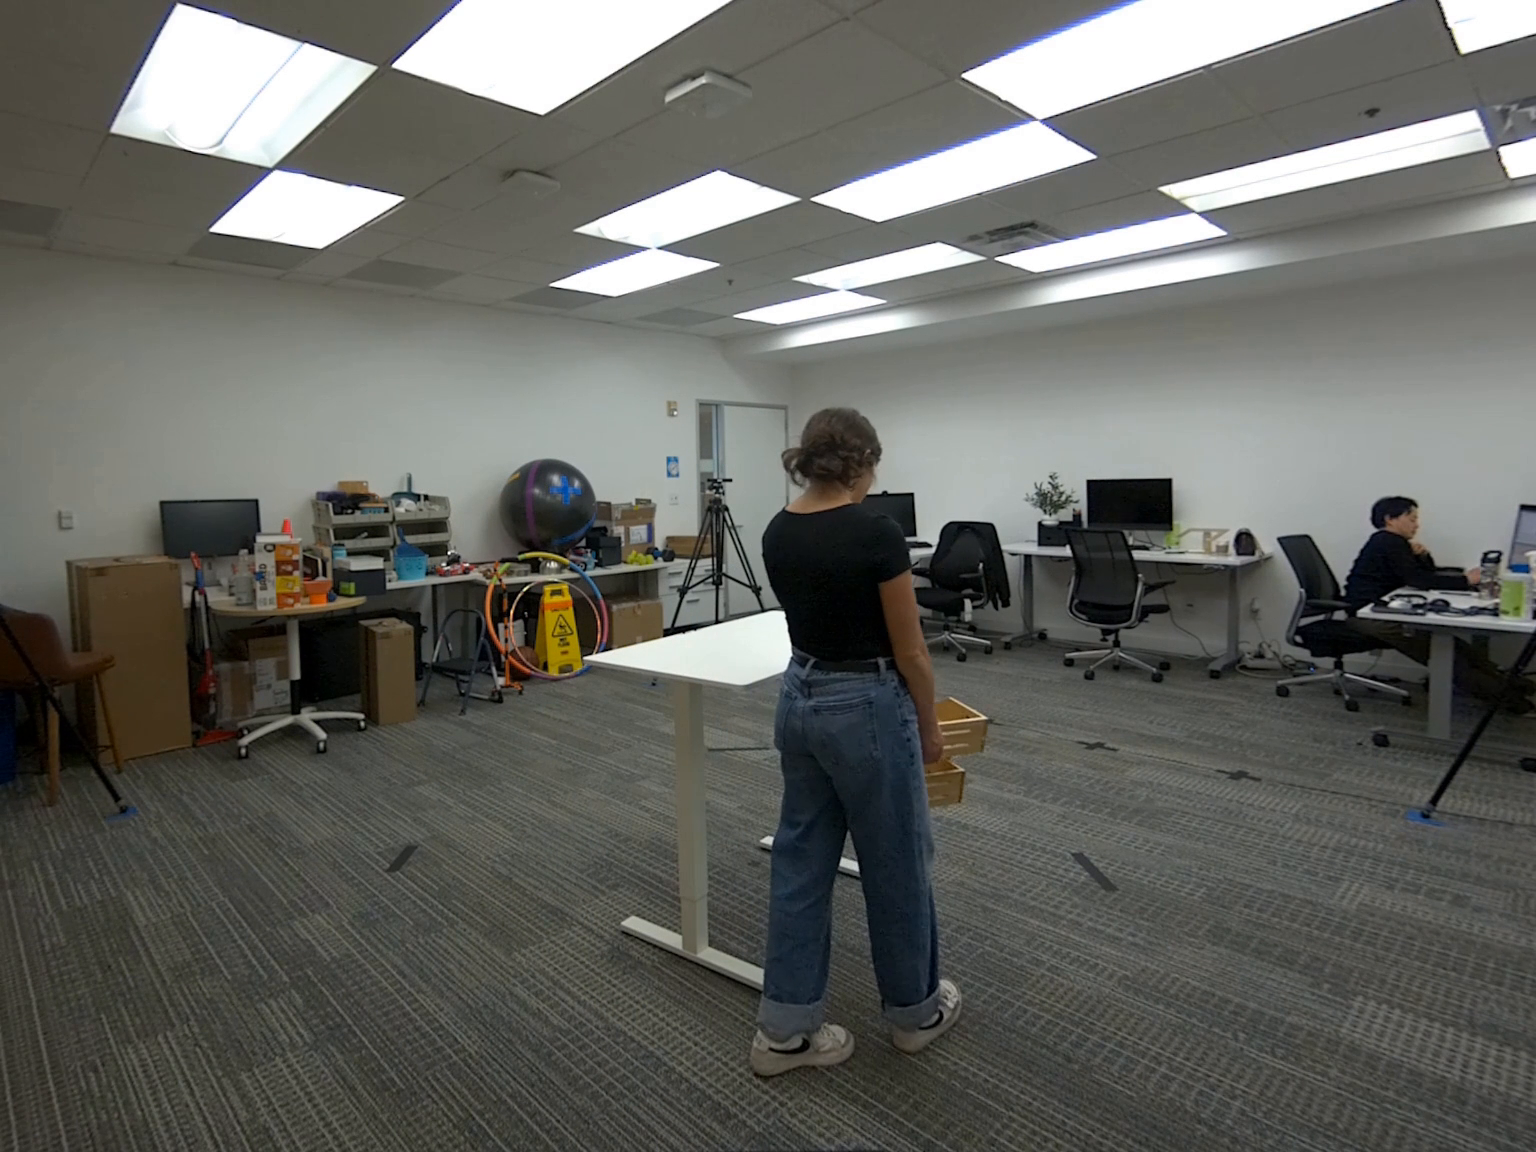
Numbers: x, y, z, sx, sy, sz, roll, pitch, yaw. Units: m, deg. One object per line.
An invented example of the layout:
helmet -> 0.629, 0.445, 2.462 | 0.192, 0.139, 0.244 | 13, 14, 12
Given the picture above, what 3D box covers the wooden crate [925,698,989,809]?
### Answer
wooden crate -> 0.365, 0.456, 2.265 | 0.317, 0.270, 0.312 | -2, 15, -28
